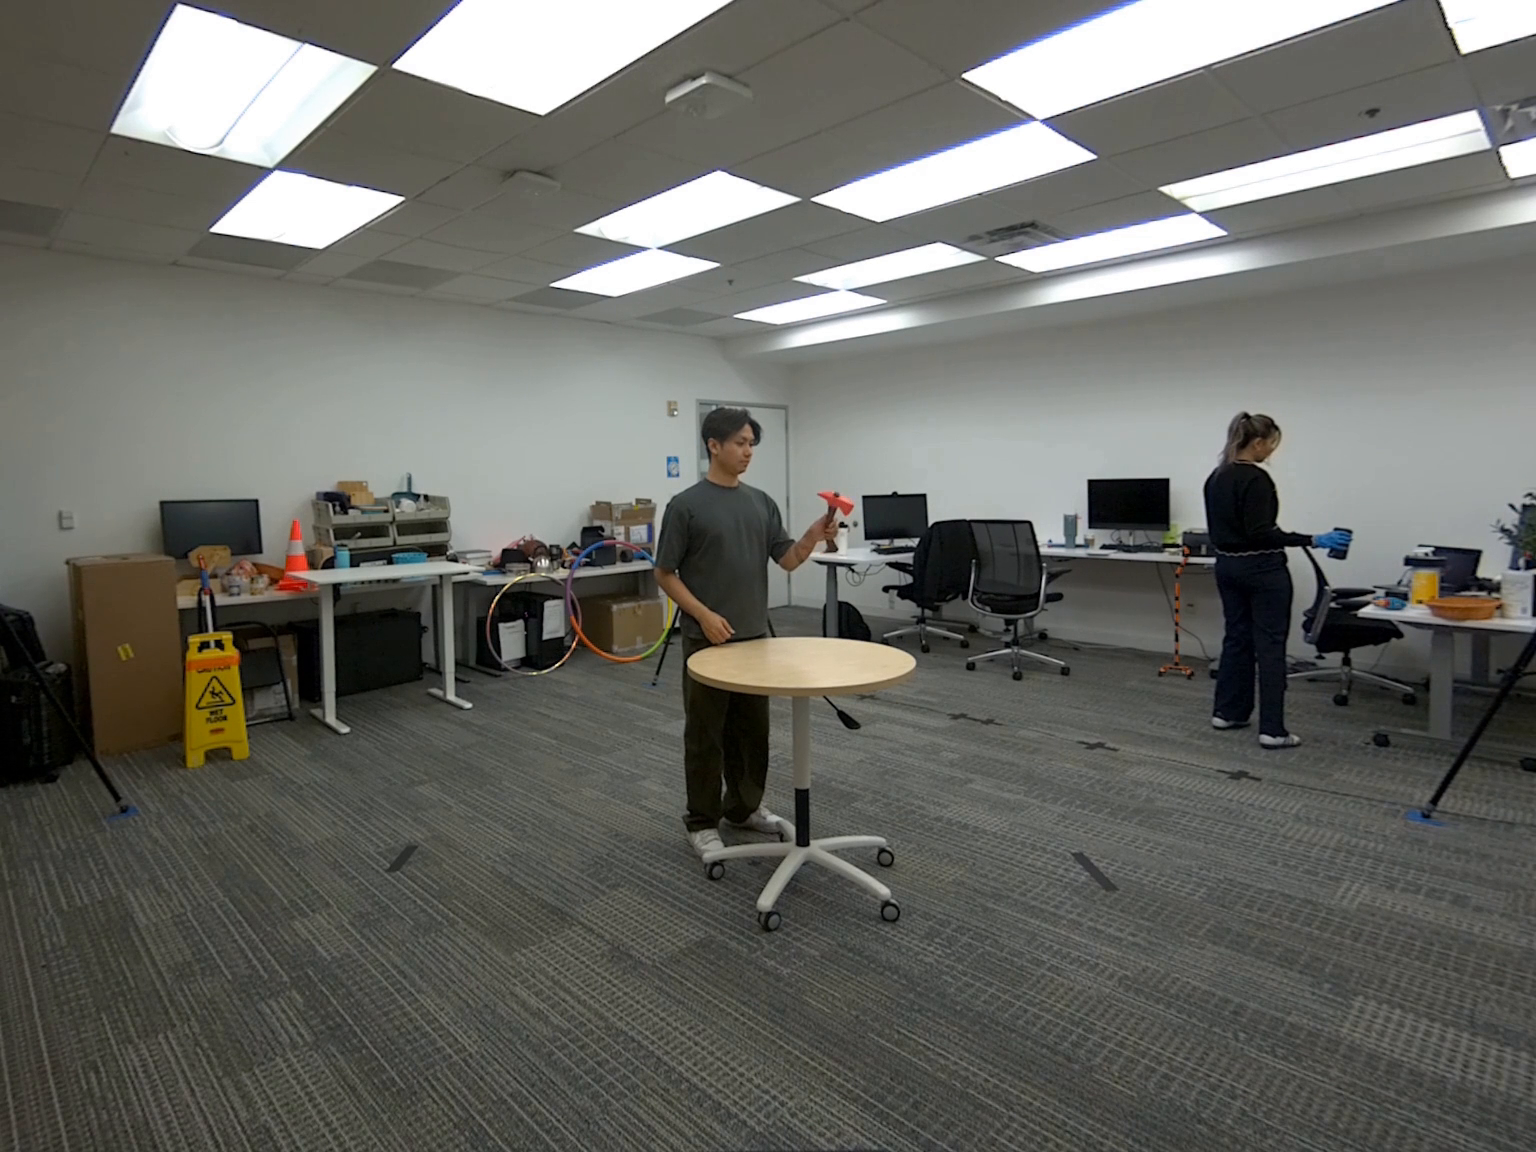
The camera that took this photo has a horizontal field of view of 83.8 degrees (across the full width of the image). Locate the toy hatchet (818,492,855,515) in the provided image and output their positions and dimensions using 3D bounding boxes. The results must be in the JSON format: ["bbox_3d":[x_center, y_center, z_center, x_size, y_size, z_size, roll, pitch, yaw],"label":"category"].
[{"bbox_3d":[0.258,-0.191,3.059,0.134,0.261,0.030,6,41,23],"label":"toy hatchet"}]
